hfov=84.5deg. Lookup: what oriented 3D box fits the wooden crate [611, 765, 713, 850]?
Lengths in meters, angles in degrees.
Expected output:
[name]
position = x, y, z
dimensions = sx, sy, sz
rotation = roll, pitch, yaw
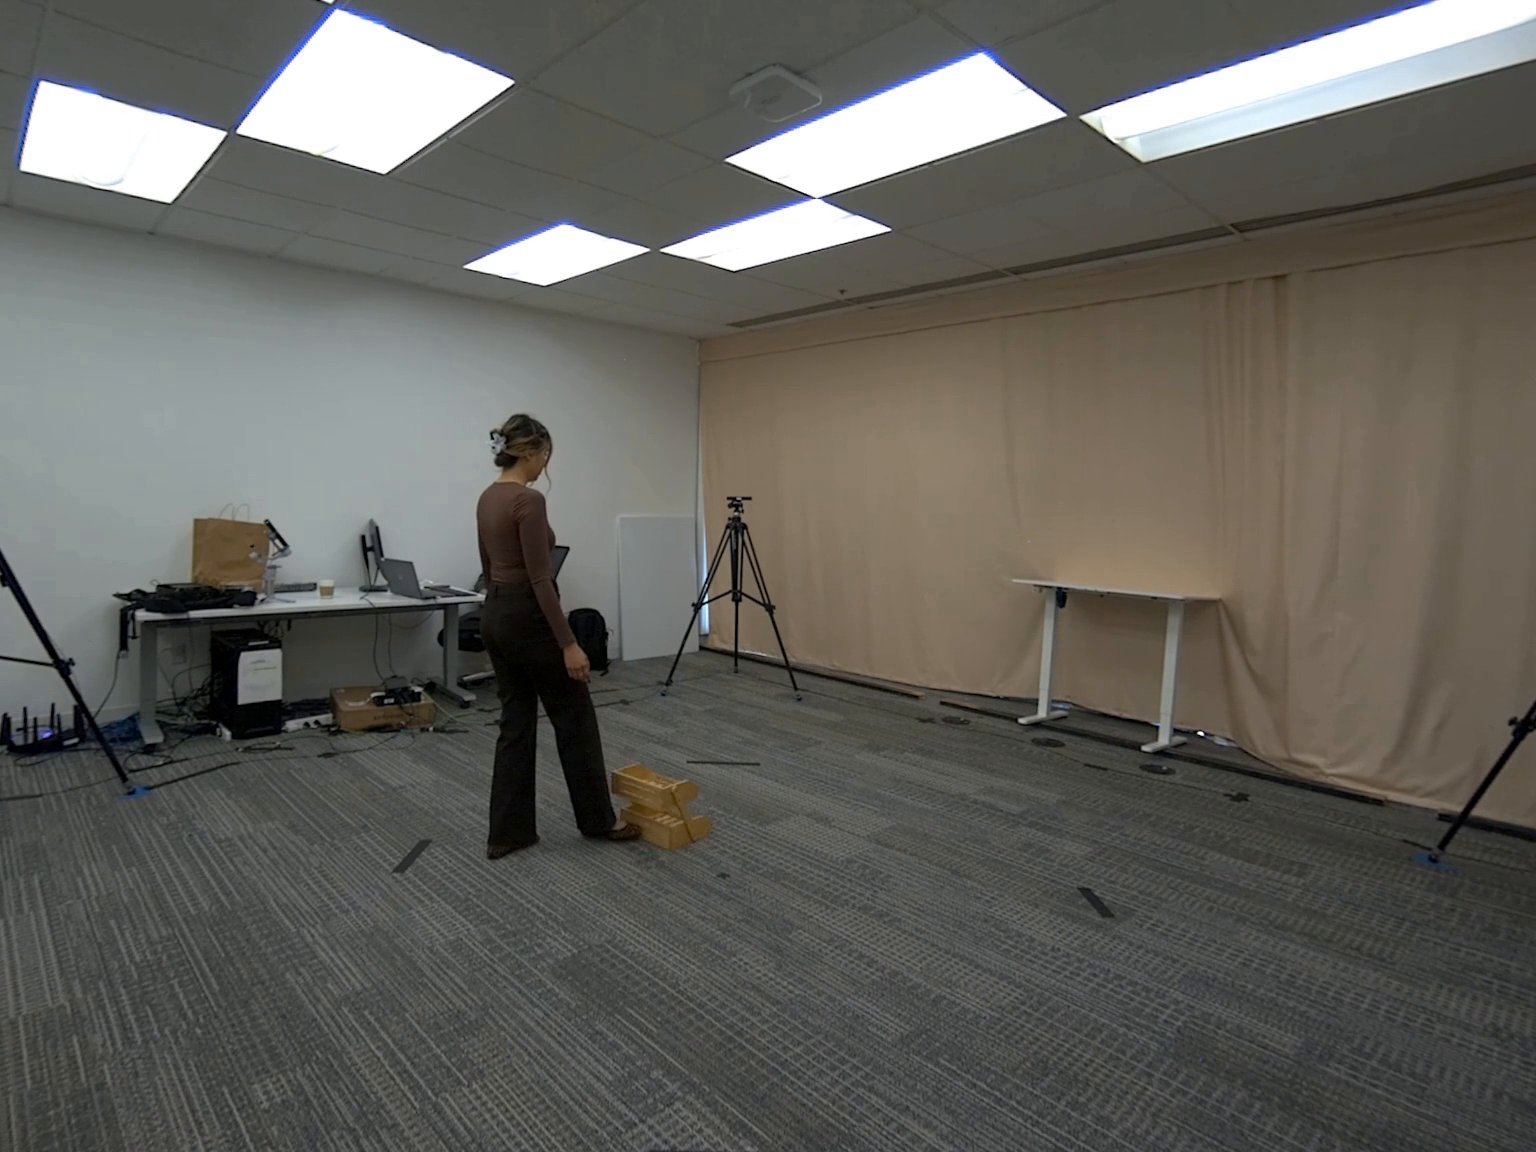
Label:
[wooden crate]
position = -0.442, 0.932, 3.481
dimensions = 0.332, 0.272, 0.295
rotation = 5, 6, 40
